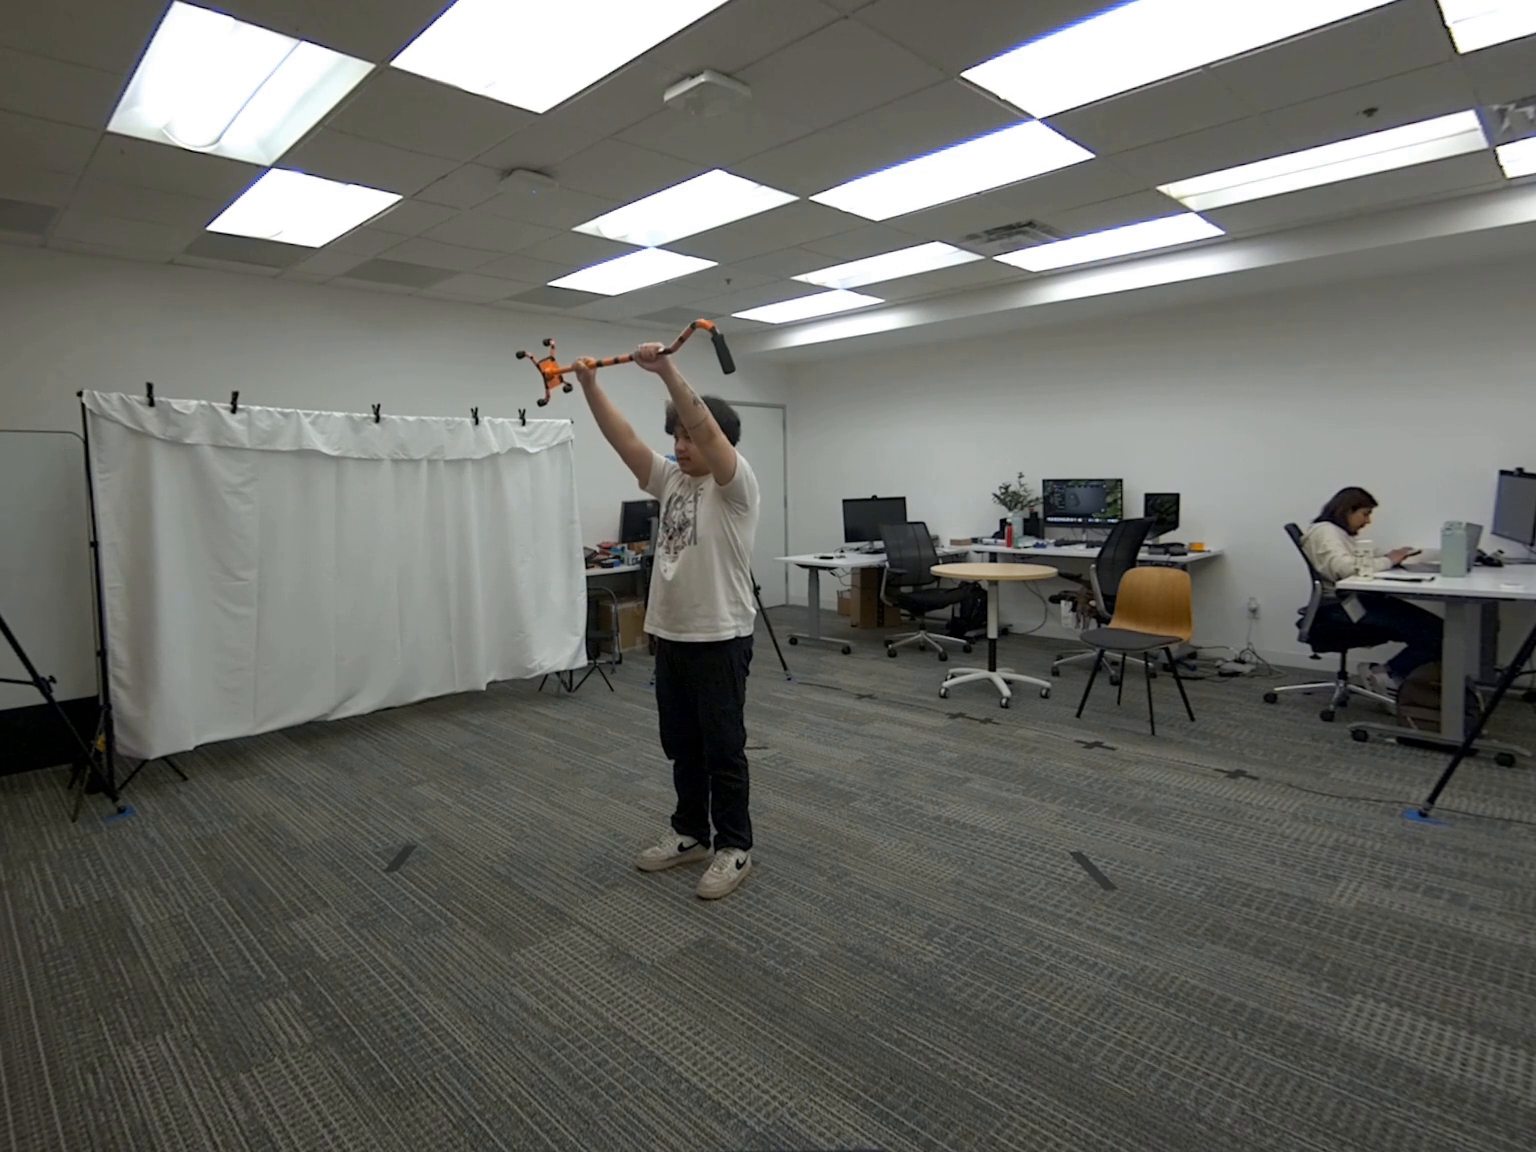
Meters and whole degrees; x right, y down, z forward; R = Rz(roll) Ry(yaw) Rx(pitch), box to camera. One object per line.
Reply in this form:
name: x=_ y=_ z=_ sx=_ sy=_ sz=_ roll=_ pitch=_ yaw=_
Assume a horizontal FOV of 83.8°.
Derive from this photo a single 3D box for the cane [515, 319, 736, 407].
cane: x=-0.452 y=-0.686 z=2.679 sx=0.936 sy=0.201 sz=0.151 roll=5 pitch=35 yaw=44
